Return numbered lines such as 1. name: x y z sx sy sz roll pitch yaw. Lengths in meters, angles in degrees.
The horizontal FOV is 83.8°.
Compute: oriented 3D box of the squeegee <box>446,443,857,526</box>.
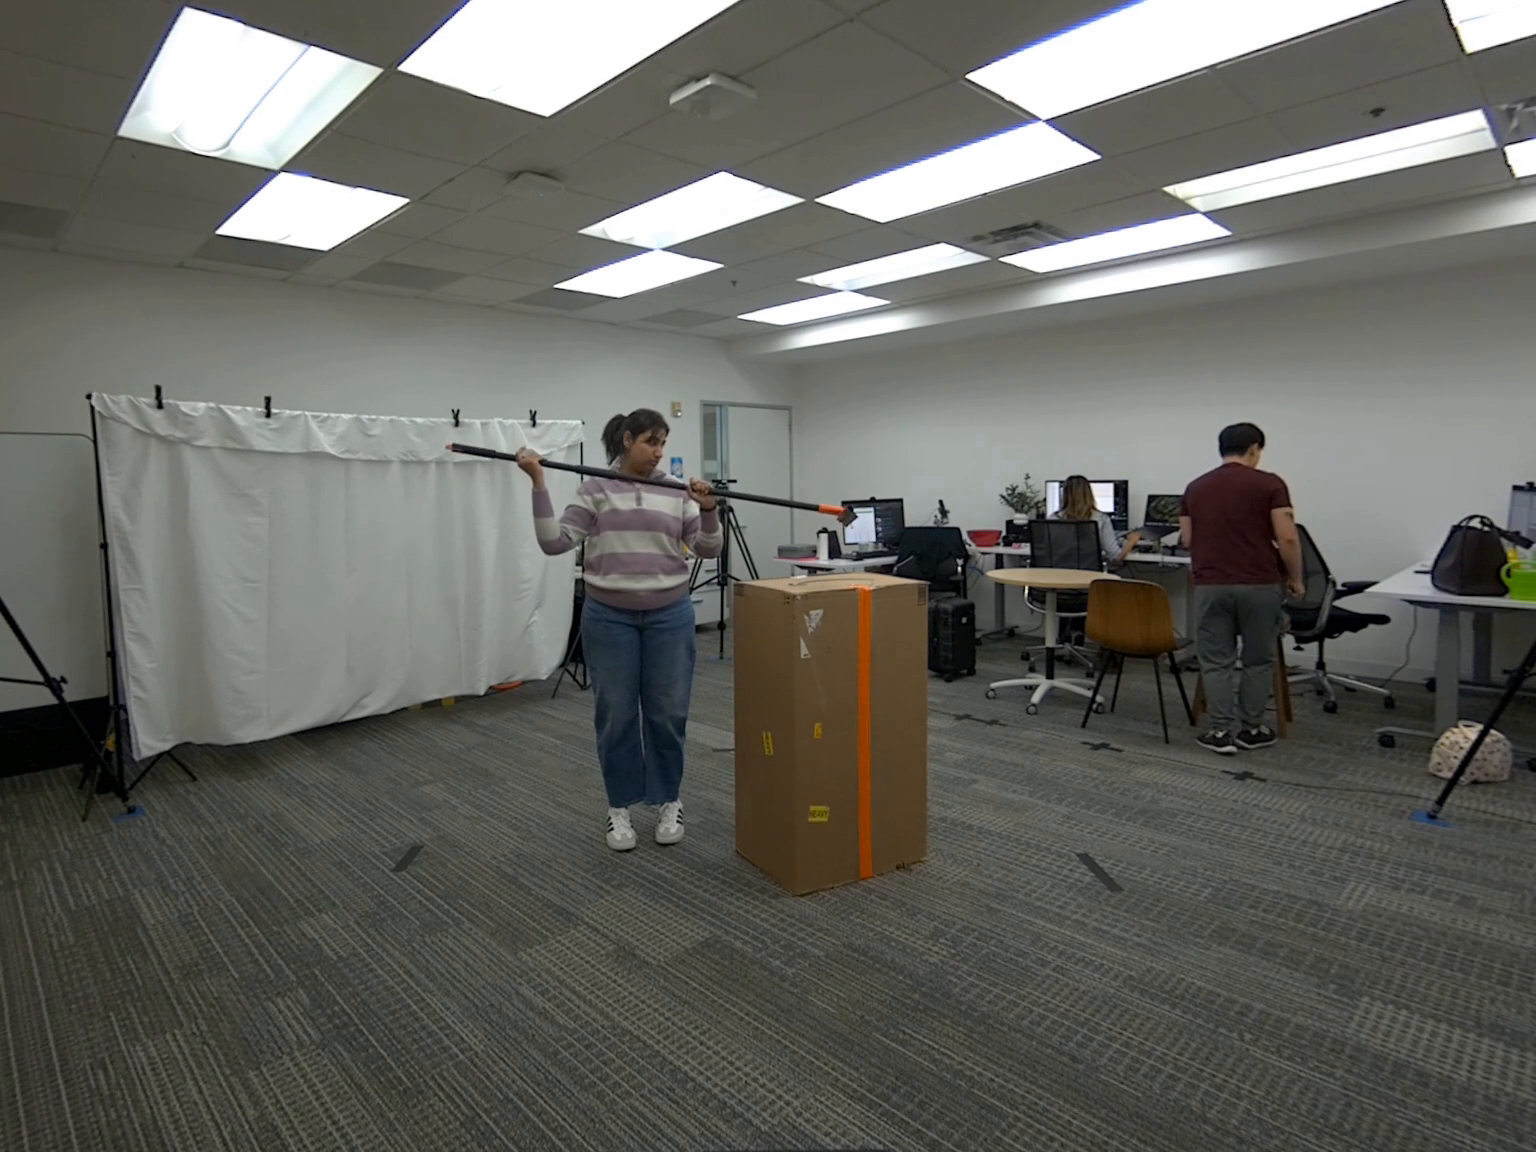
1. squeegee: -0.423 -0.344 3.133 1.541 0.053 0.434 11 -5 2
